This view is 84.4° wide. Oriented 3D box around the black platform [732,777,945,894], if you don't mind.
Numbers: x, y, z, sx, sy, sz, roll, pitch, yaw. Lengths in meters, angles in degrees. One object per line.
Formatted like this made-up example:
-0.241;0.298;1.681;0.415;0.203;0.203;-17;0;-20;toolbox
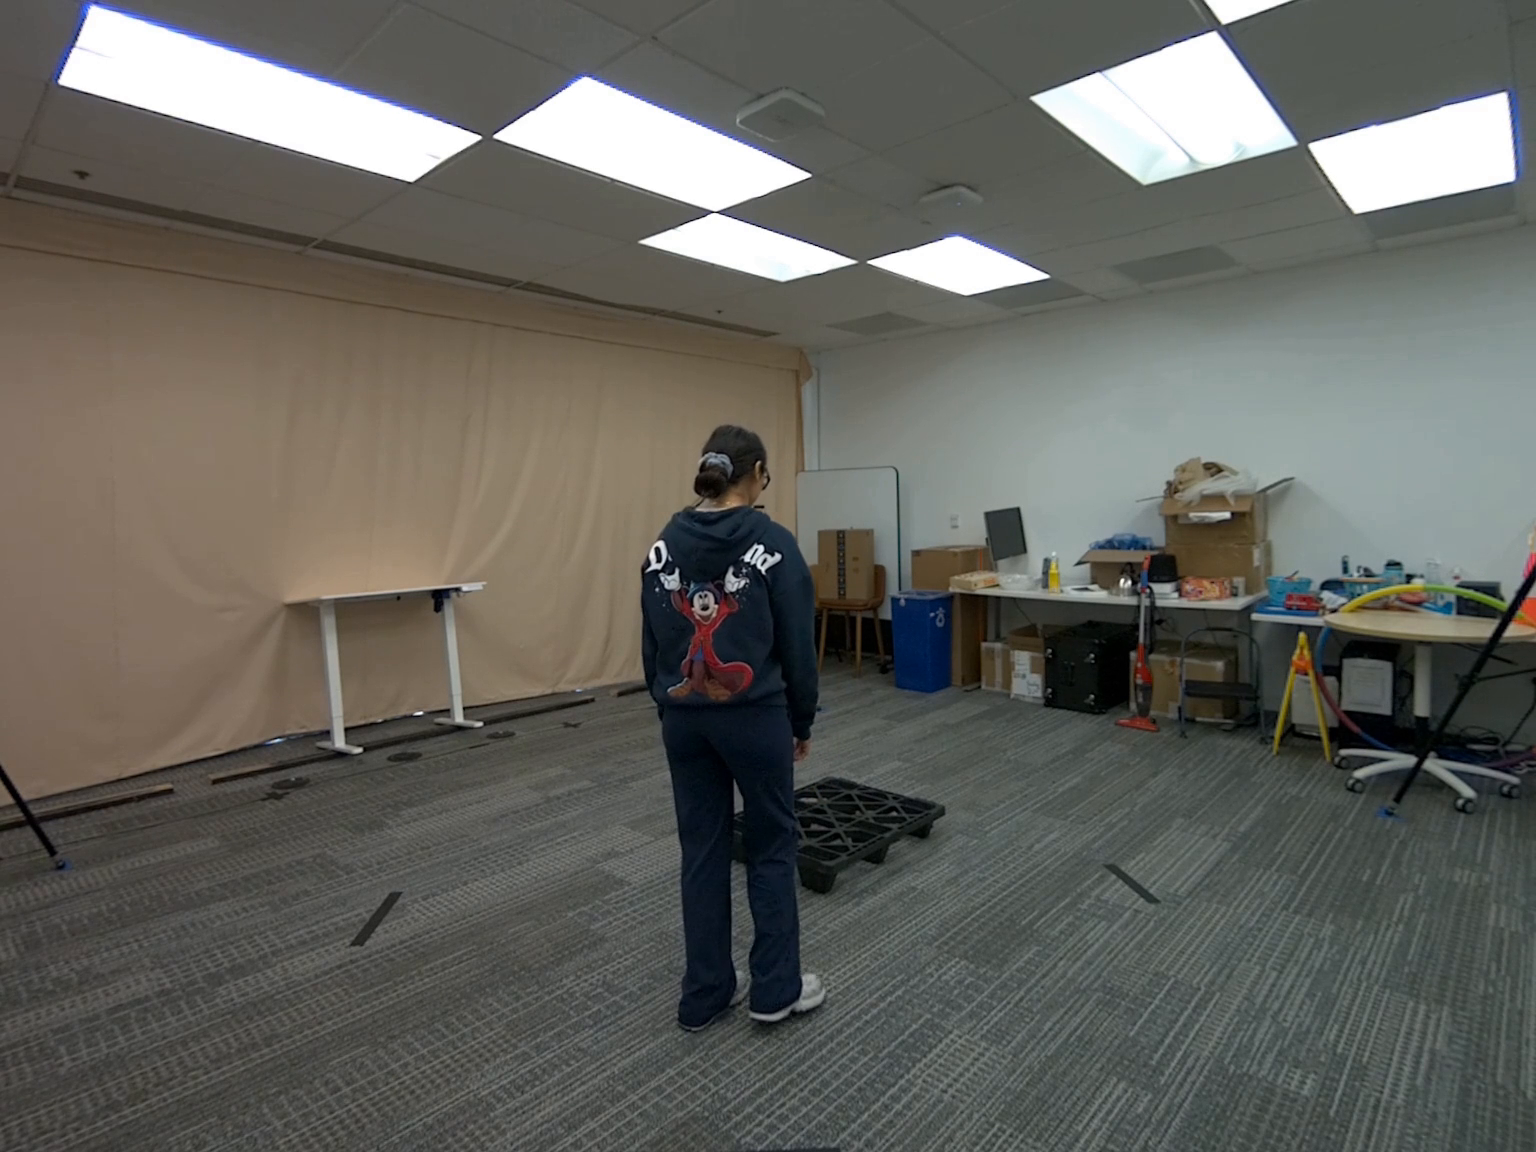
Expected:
0.256;1.035;3.413;0.625;0.143;0.781;2;5;43;black platform
